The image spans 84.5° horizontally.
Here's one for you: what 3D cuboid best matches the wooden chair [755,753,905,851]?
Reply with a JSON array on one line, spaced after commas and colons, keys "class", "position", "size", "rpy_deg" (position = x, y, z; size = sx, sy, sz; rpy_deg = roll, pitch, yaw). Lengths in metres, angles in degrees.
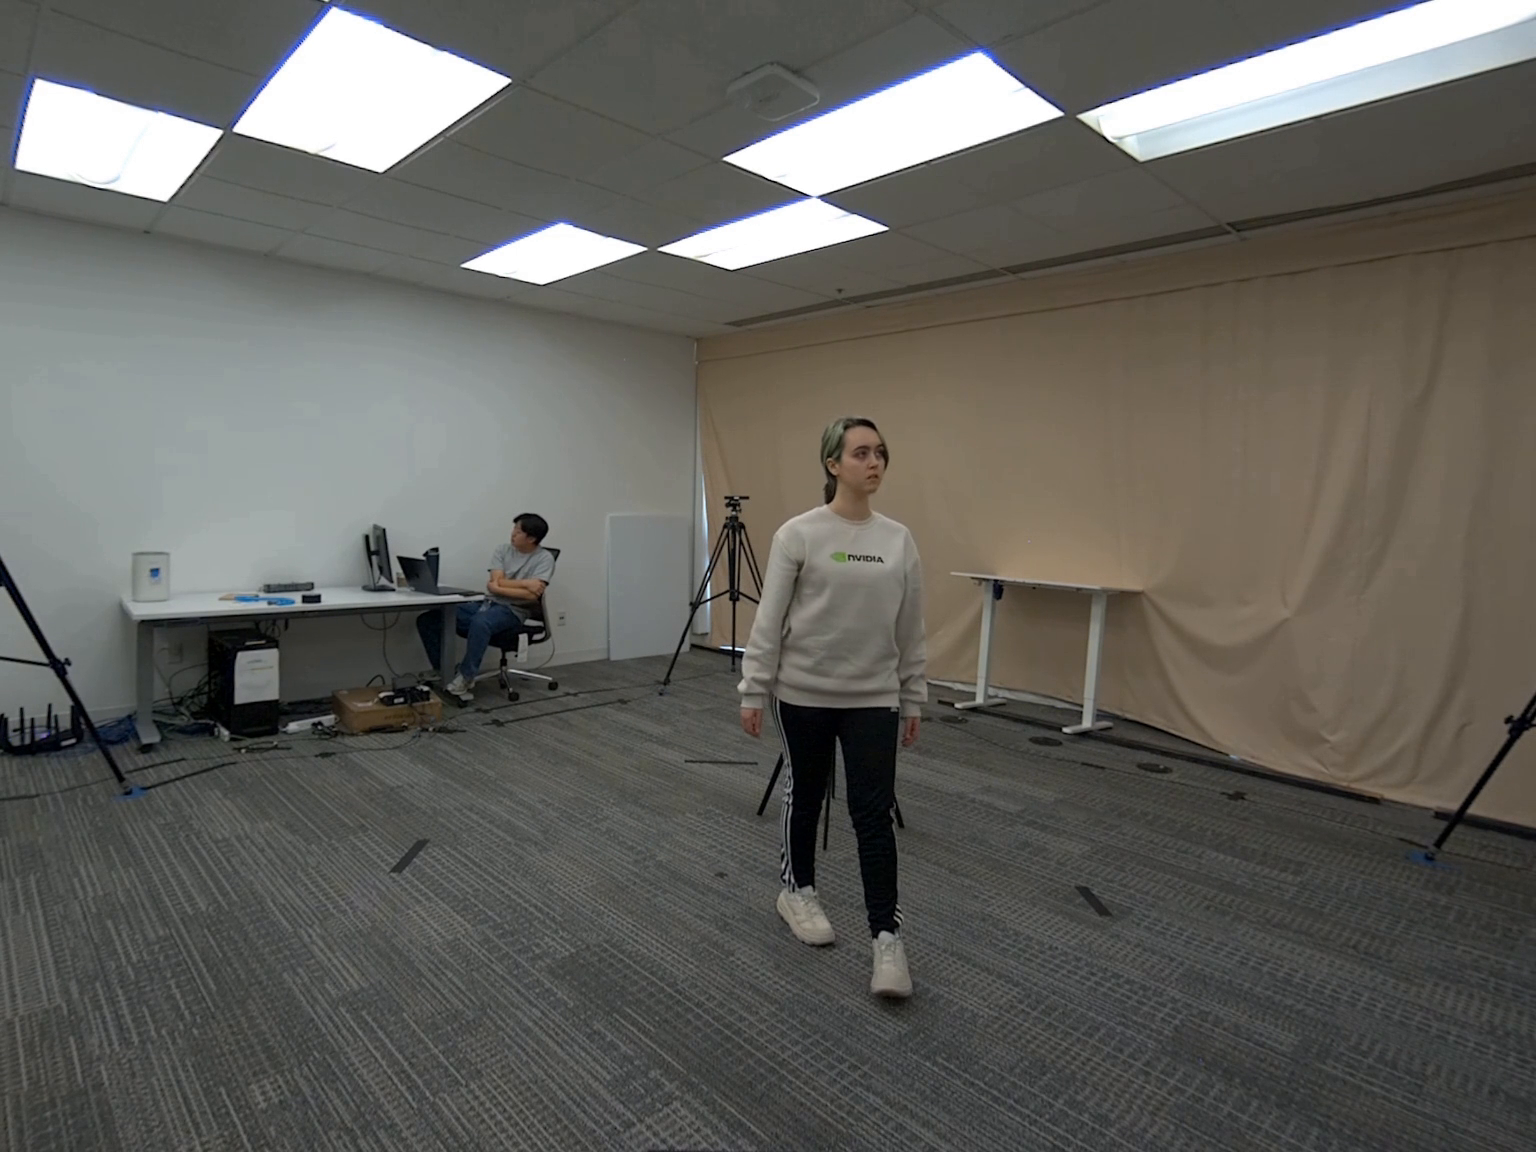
[{"class": "wooden chair", "position": [0.282, 0.643, 3.632], "size": [0.512, 0.874, 0.490], "rpy_deg": [-6, 7, -36]}]
